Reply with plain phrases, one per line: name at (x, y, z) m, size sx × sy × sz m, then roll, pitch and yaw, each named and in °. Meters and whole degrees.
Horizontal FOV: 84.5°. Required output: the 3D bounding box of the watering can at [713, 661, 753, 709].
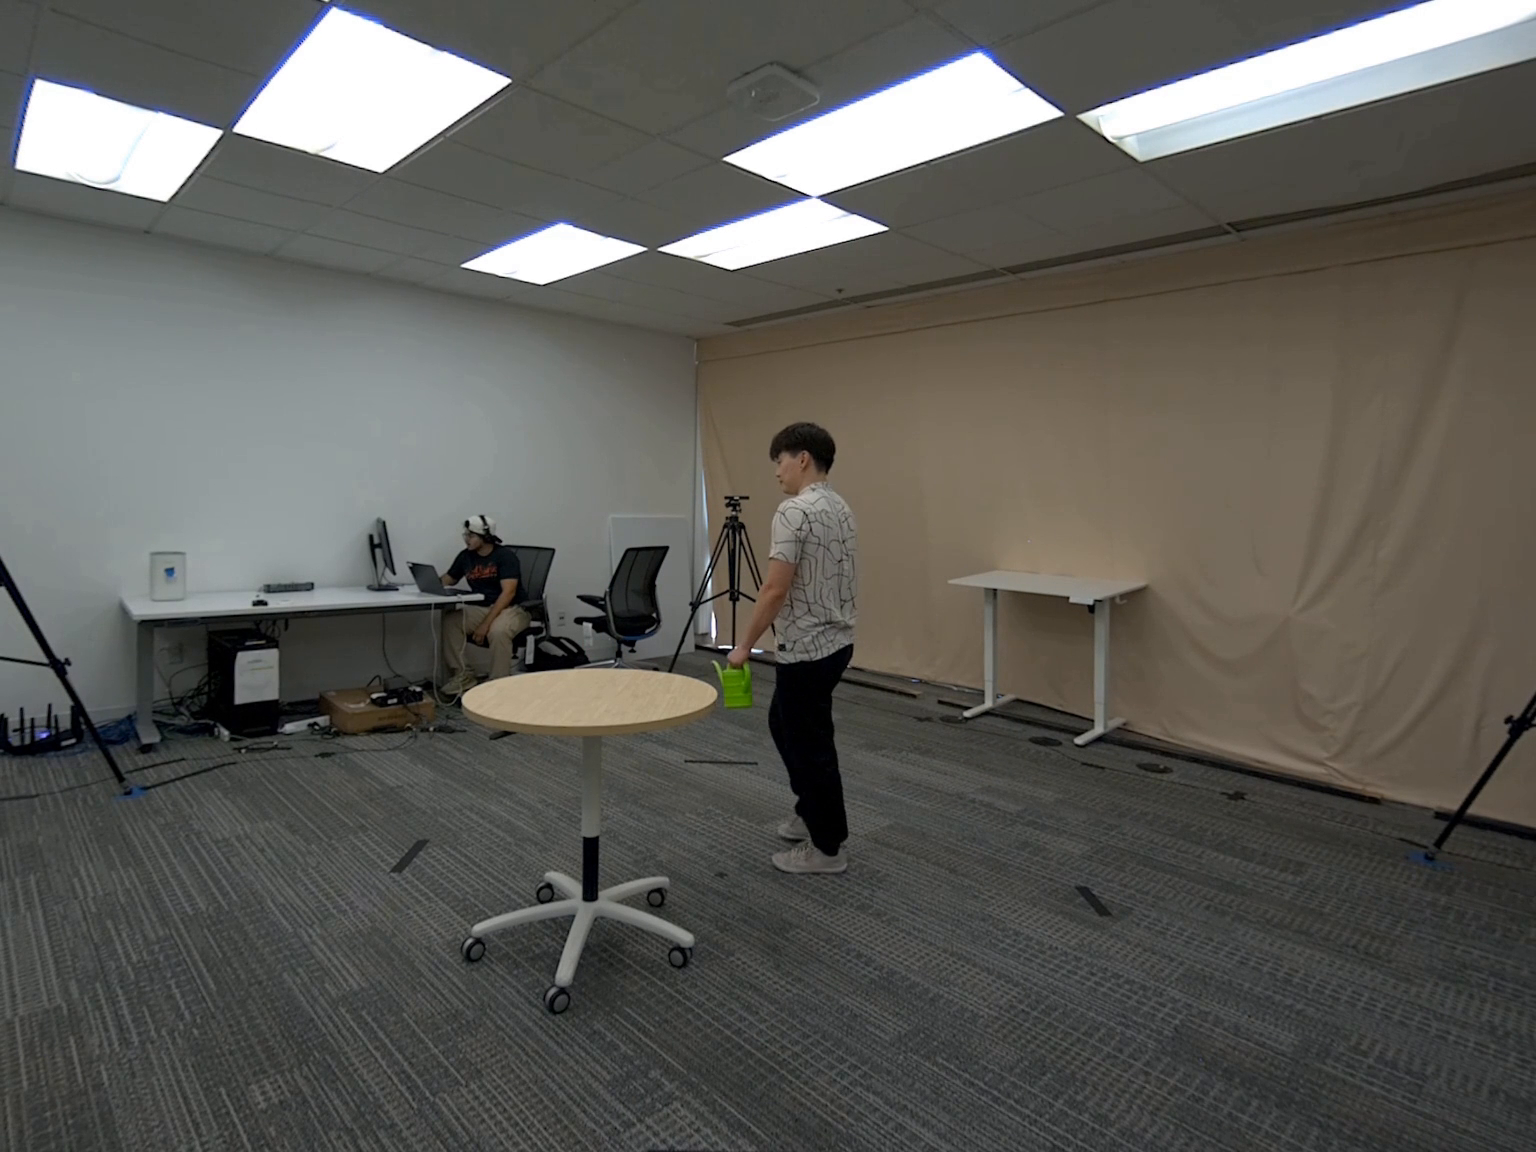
watering can at (-0.124, 0.396, 3.102) m, size 0.097 × 0.178 × 0.280 m, roll -2°, pitch -7°, yaw -18°
